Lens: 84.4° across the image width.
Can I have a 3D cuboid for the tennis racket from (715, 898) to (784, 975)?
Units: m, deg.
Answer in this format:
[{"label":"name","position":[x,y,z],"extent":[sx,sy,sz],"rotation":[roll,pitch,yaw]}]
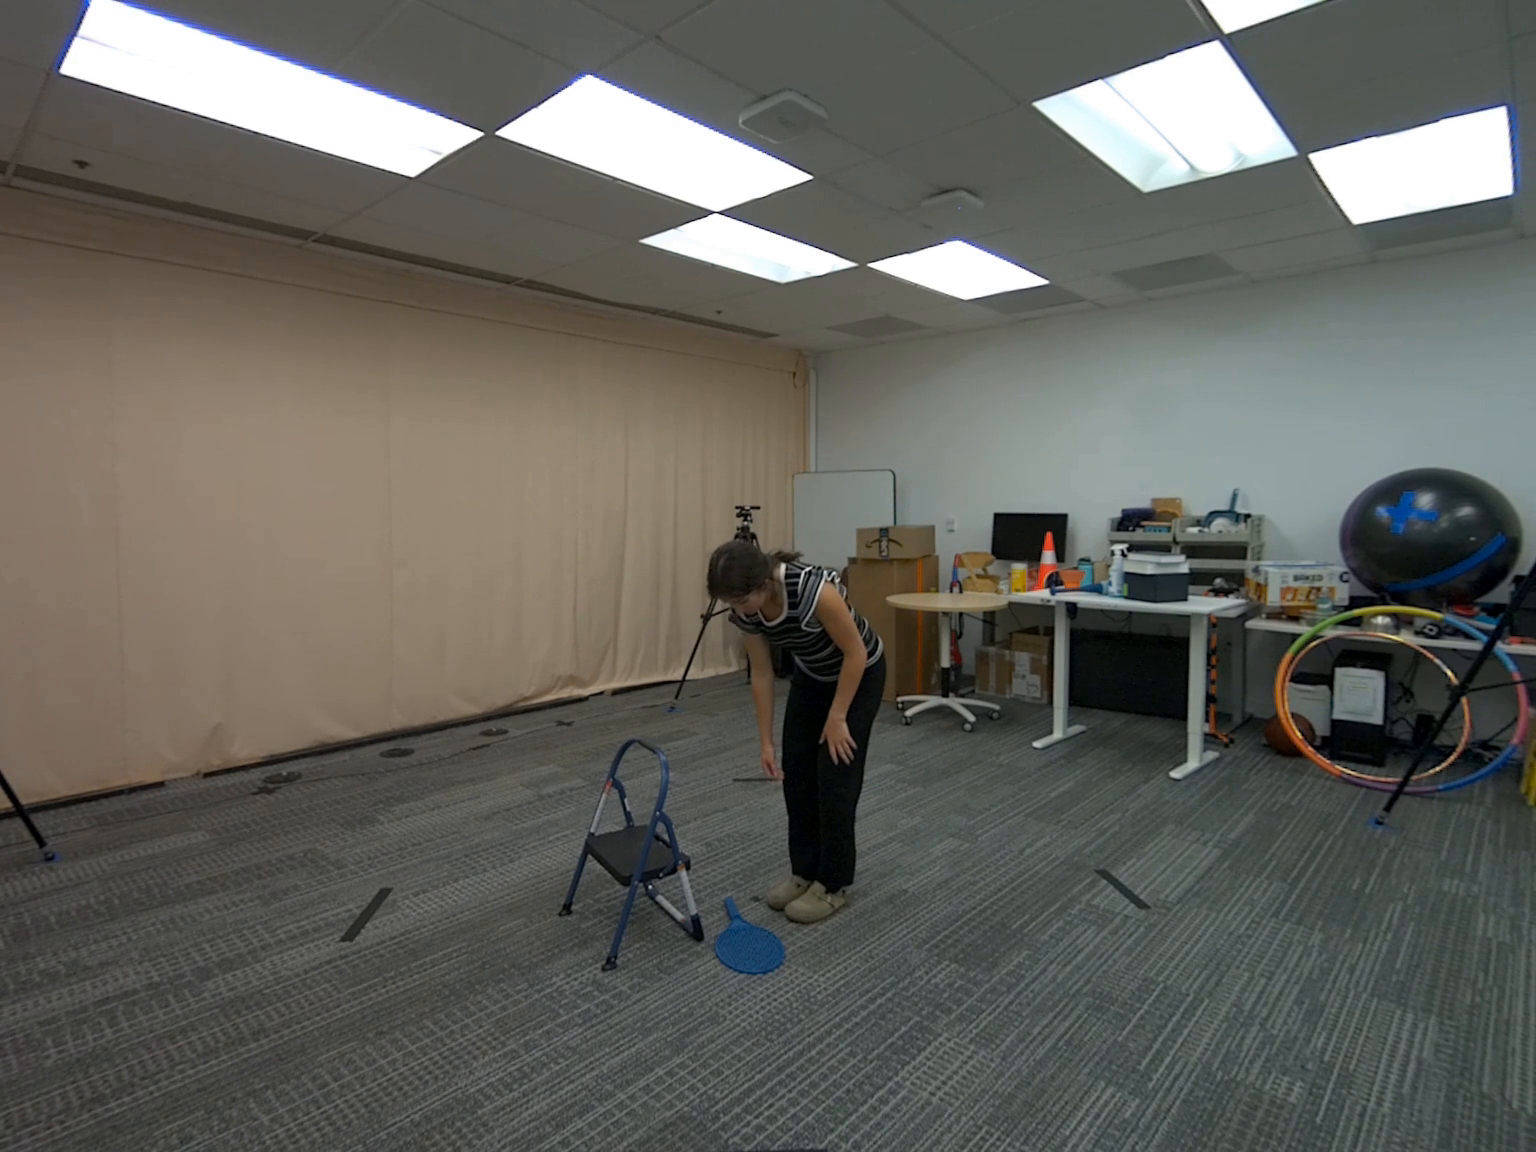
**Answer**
[{"label":"tennis racket","position":[-0.071,1.153,2.710],"extent":[0.211,0.031,0.439],"rotation":[-1,6,-13]}]
